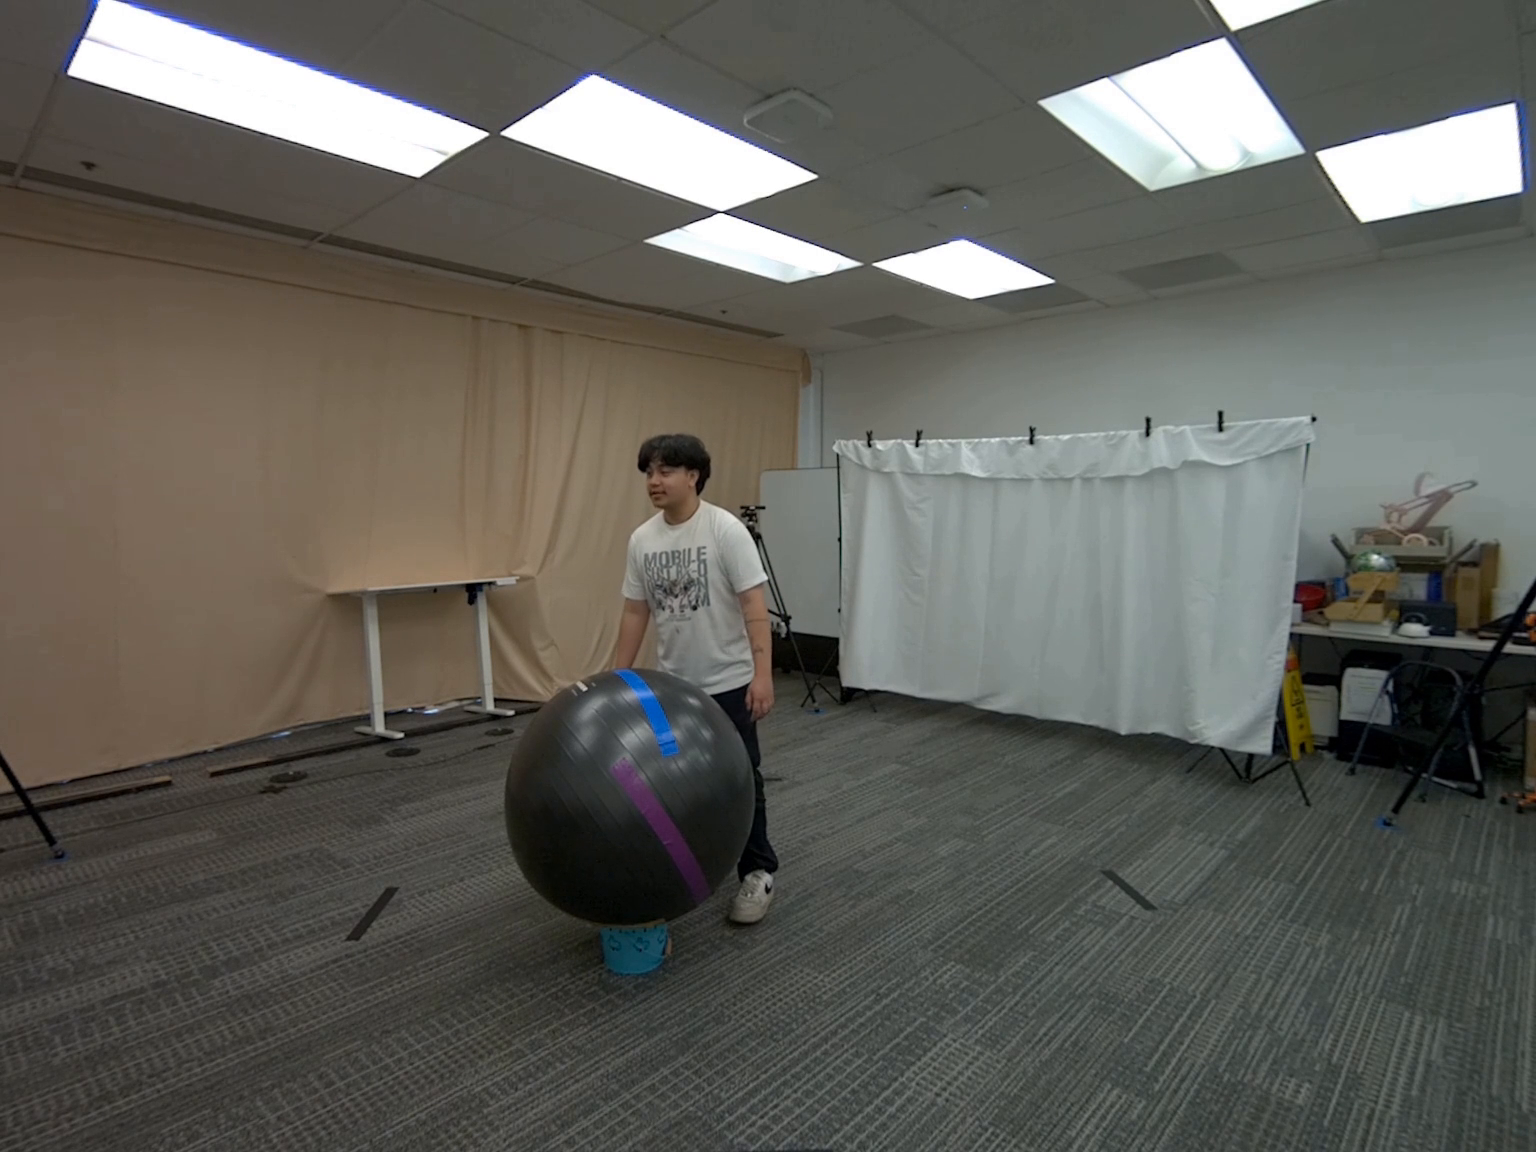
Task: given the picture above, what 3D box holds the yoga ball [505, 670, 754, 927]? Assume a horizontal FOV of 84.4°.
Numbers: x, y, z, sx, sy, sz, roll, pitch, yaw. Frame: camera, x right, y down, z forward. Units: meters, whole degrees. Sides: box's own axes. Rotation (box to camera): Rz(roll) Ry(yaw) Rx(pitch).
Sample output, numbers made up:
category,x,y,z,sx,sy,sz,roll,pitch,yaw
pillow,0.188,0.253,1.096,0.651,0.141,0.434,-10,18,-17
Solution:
category,x,y,z,sx,sy,sz,roll,pitch,yaw
yoga ball,-0.420,0.670,2.576,0.757,0.756,0.760,0,4,-2
